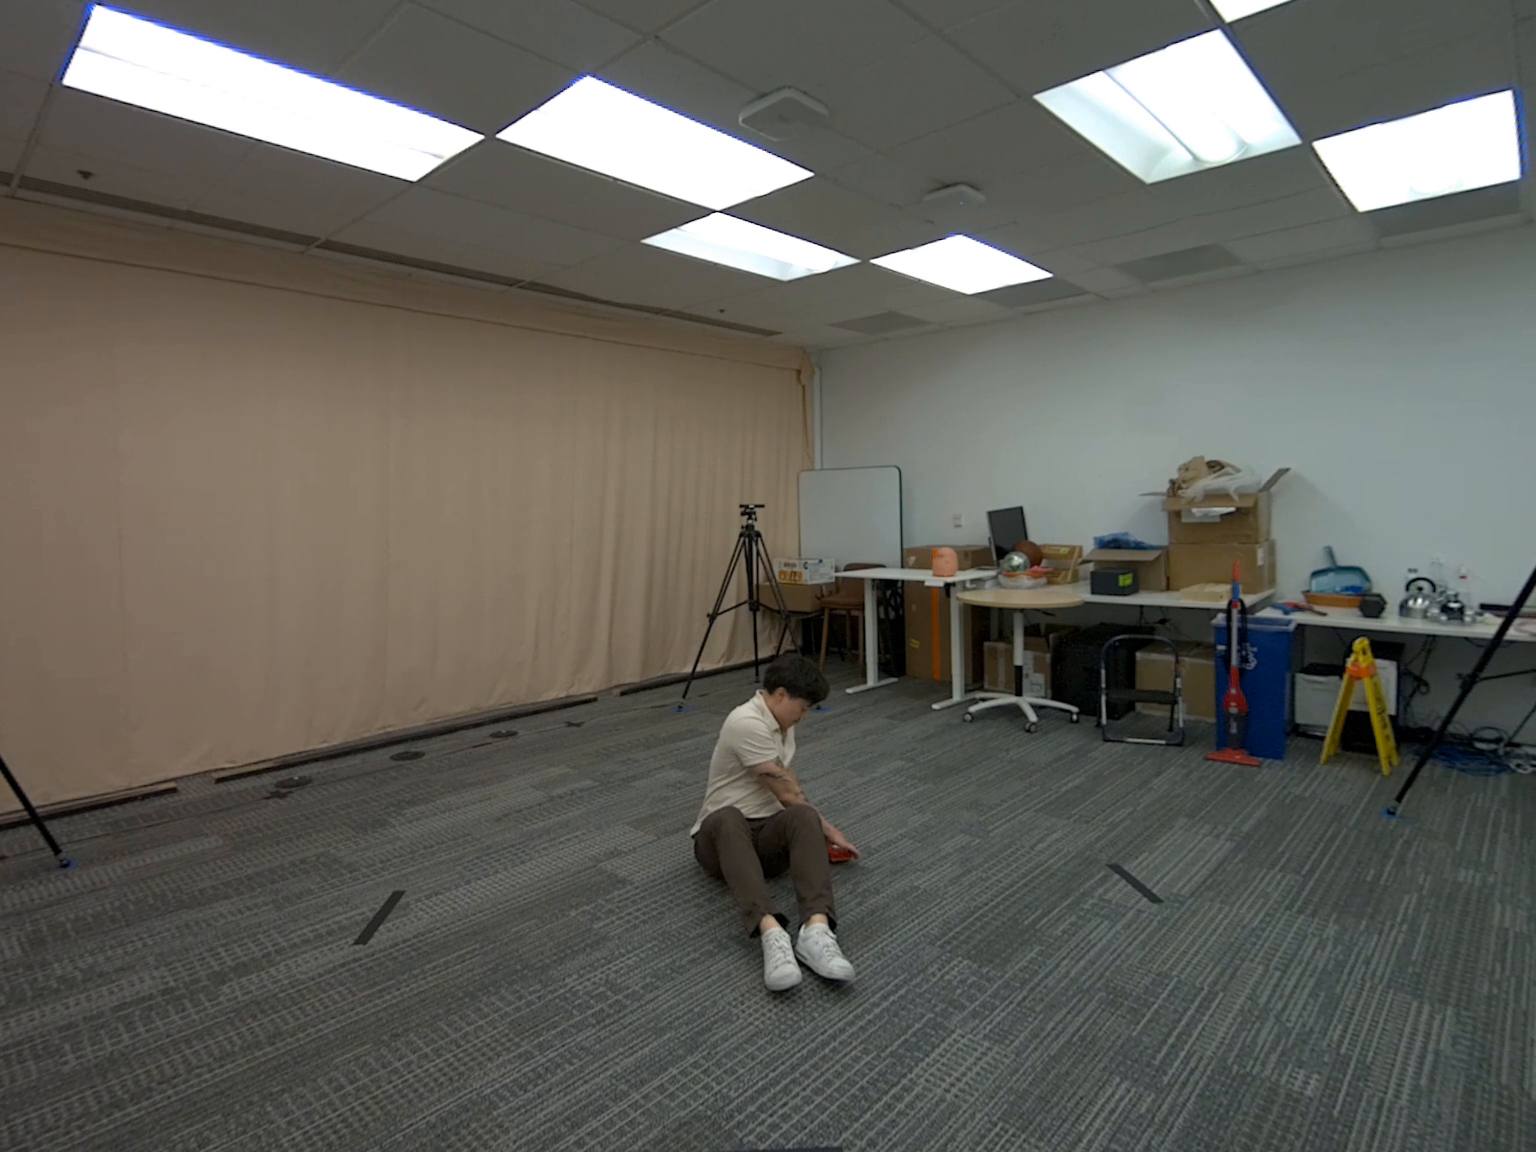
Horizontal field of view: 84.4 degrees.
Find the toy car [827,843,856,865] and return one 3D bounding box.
[{"bbox_3d":[0.255,1.076,3.323,0.128,0.083,0.257,0,-6,-14],"label":"toy car"}]
